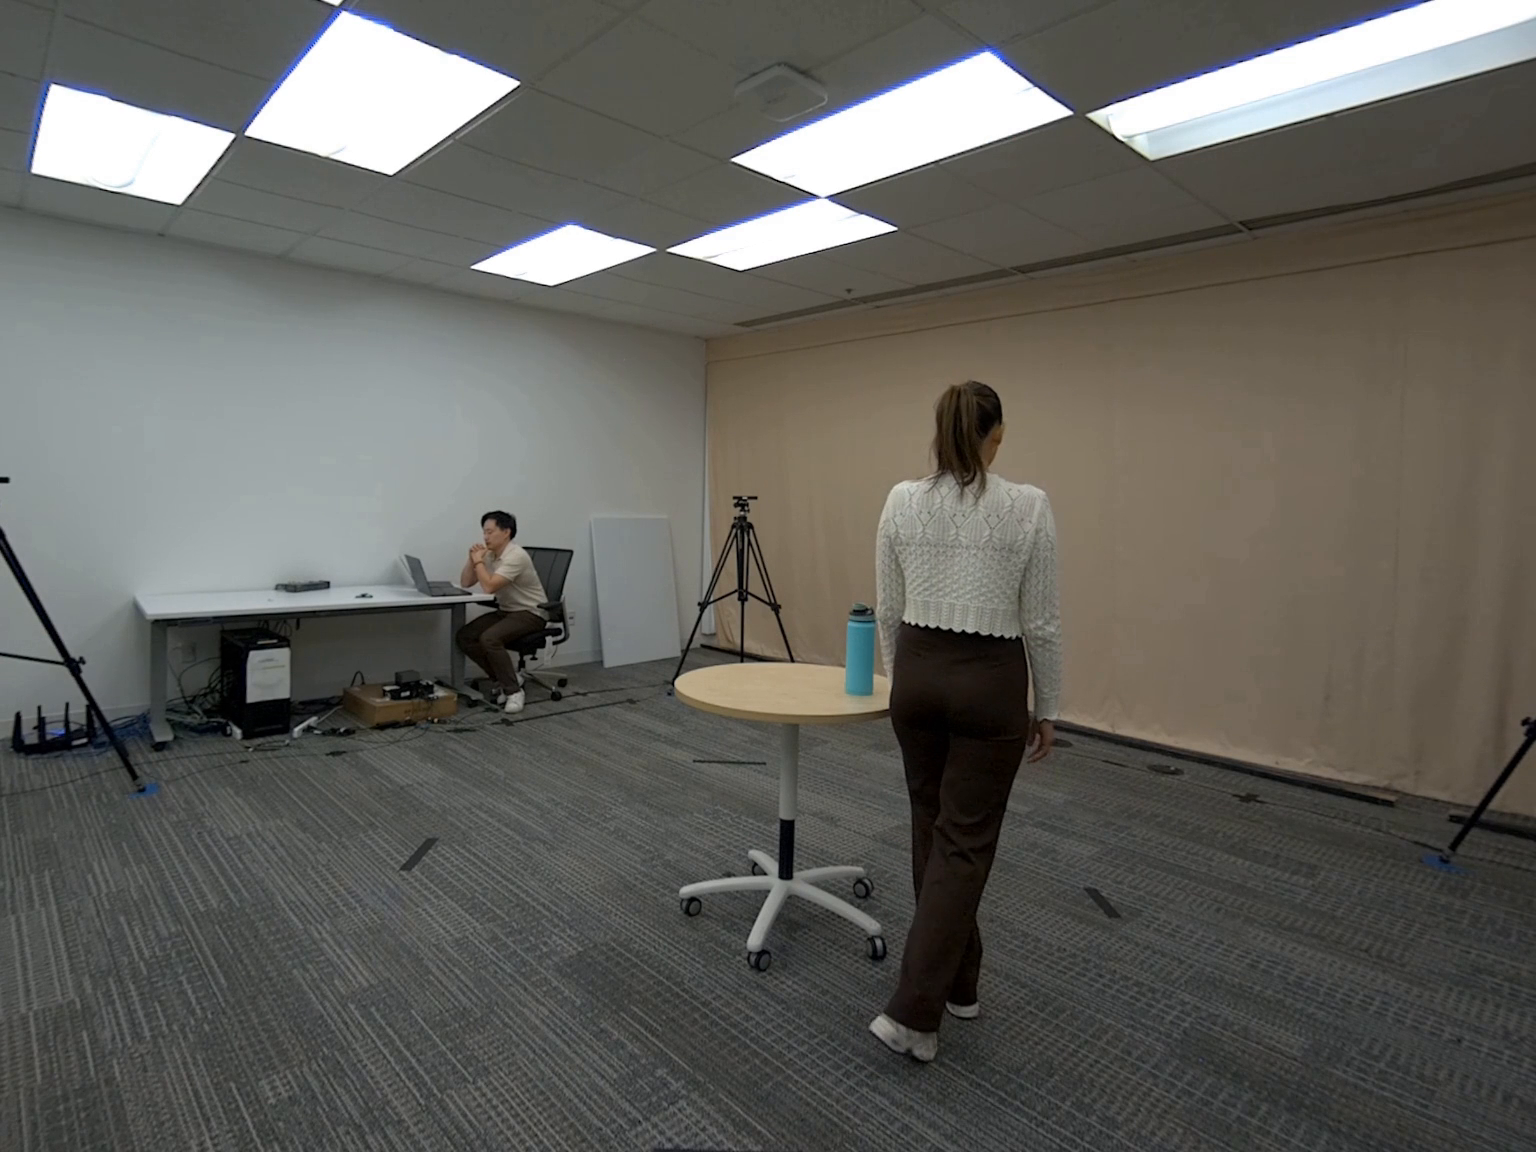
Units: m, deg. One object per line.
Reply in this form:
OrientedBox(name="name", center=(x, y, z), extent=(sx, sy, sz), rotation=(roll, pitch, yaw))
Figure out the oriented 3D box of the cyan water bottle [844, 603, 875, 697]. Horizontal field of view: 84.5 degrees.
OrientedBox(name="cyan water bottle", center=(0.294, 0.234, 2.662), extent=(0.092, 0.283, 0.092), rotation=(3, 1, -1))
